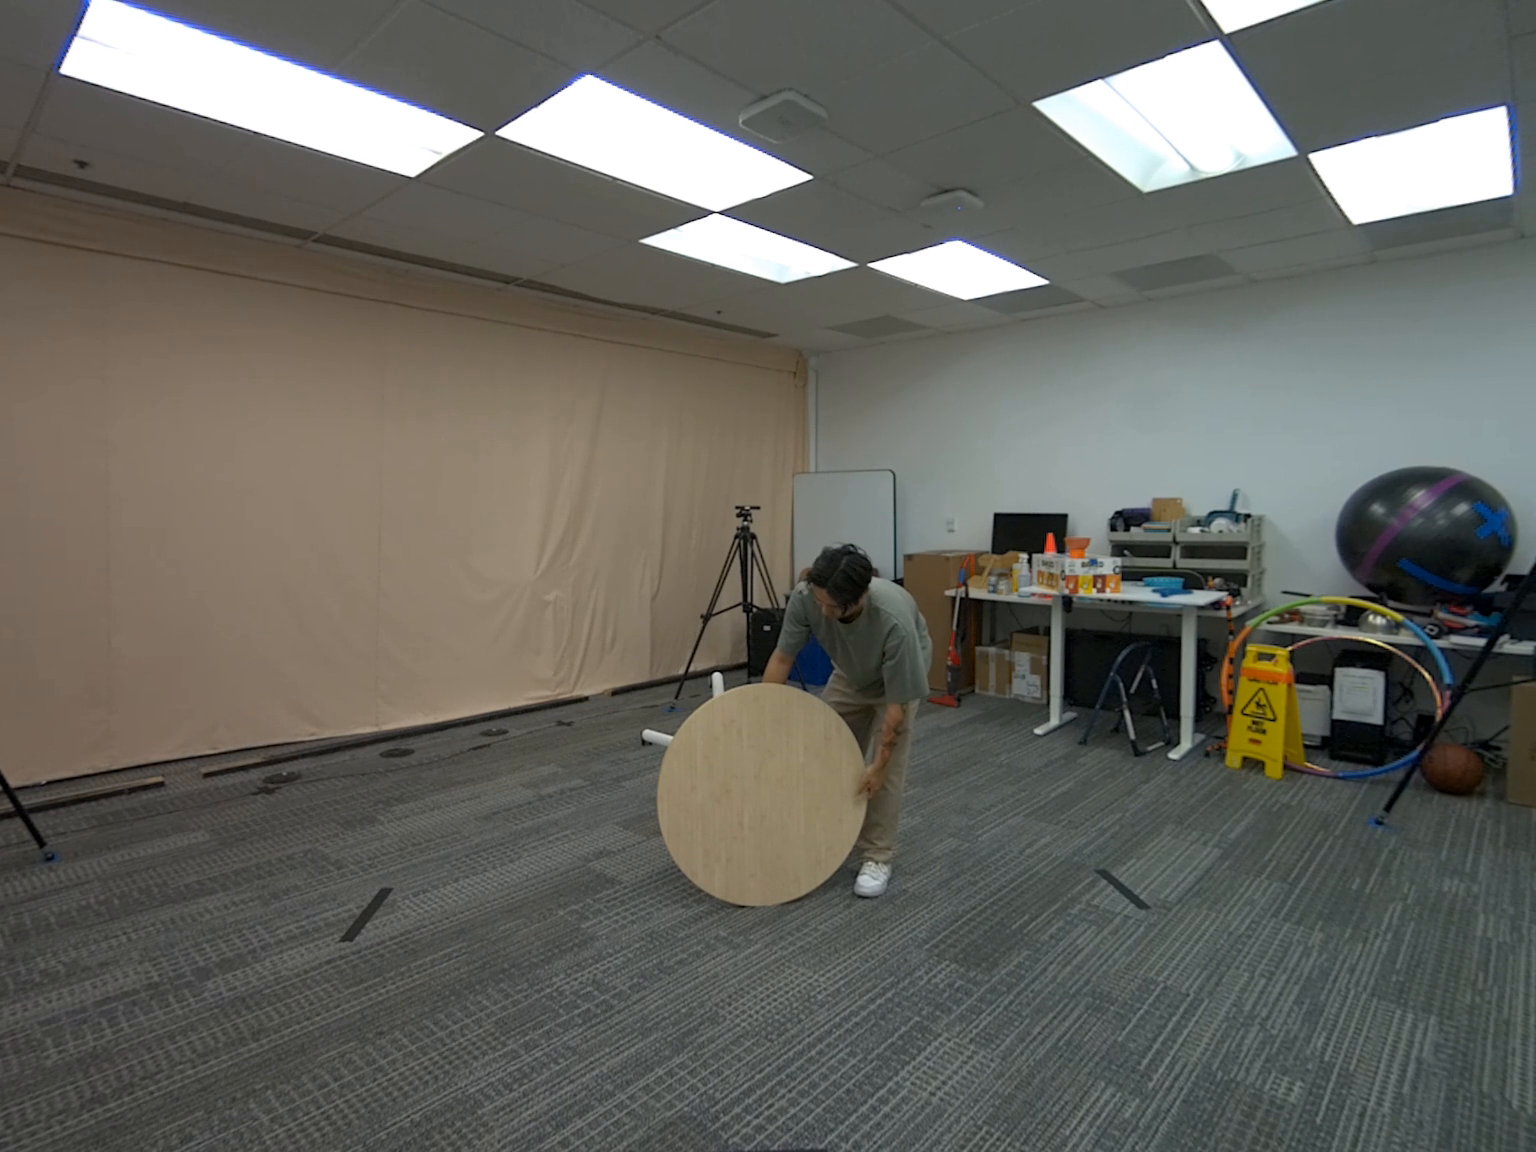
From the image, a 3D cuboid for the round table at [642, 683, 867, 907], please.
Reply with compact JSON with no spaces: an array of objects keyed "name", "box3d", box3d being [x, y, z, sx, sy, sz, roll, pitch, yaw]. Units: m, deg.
[{"name":"round table","box3d":[-0.114,0.778,3.337,0.774,0.786,0.797,-1,-2,-15]}]
